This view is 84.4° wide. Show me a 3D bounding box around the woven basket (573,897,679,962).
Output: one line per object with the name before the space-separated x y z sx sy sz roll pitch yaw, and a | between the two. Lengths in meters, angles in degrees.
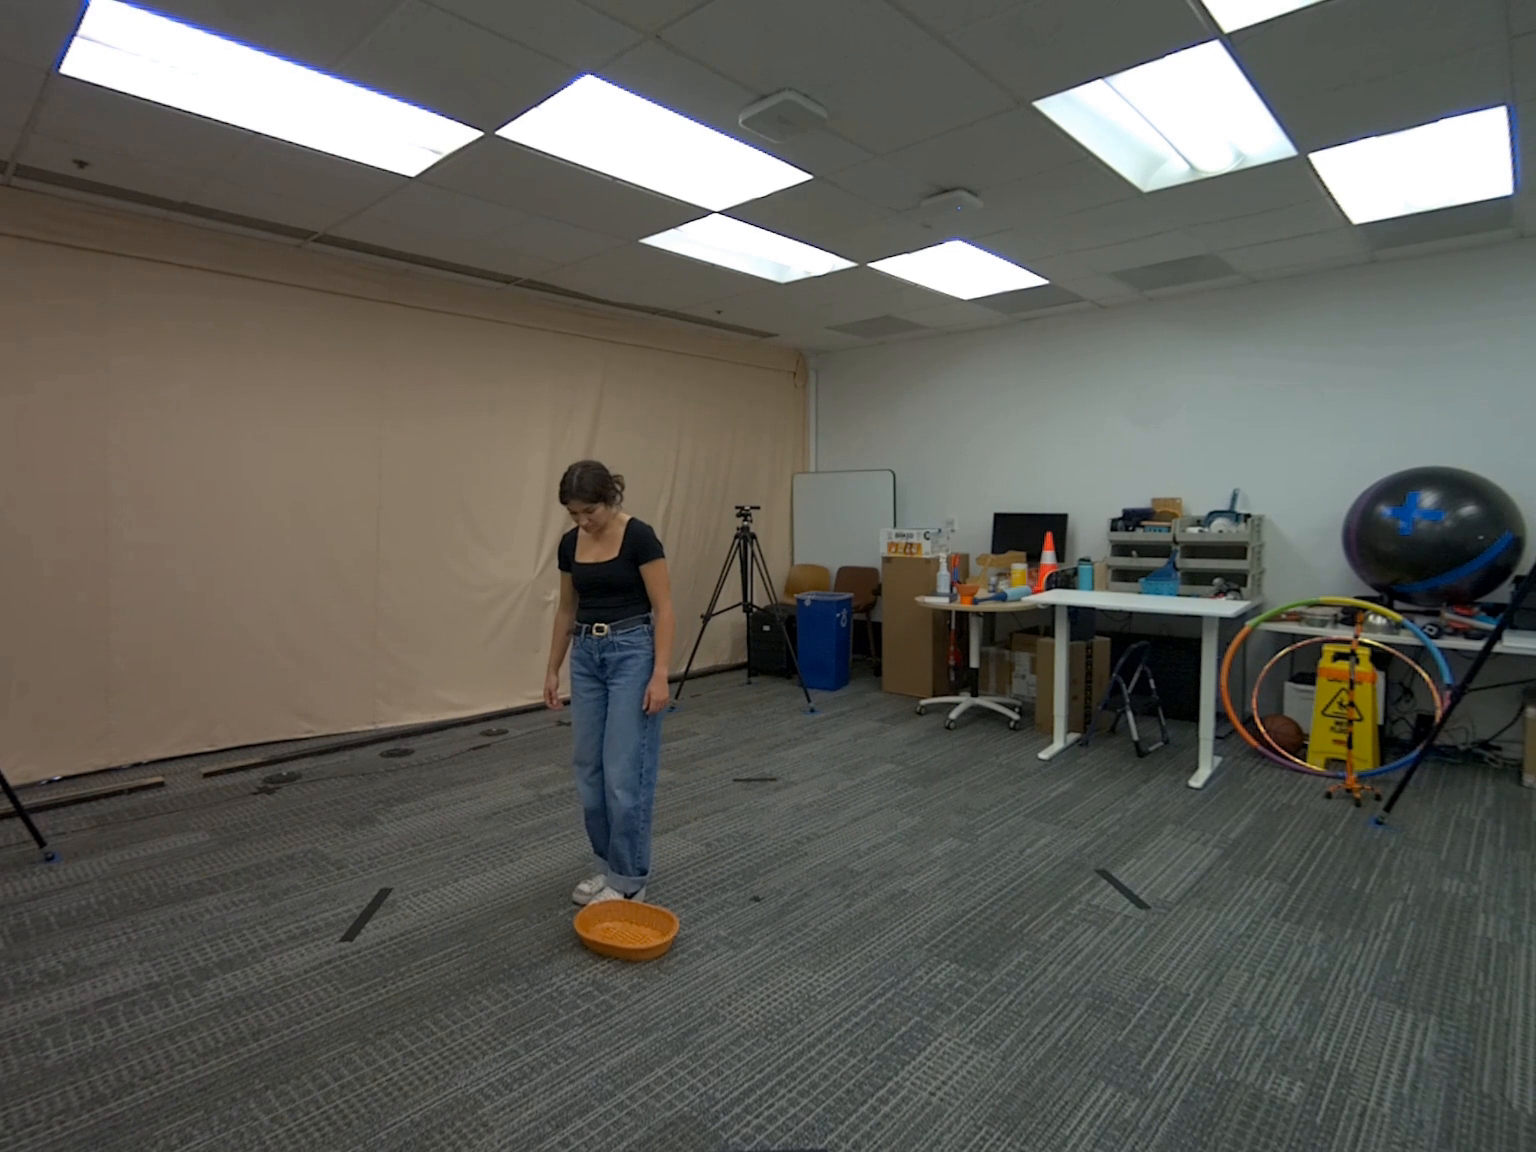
woven basket | -0.448 1.129 2.675 0.360 0.073 0.247 4 8 25
